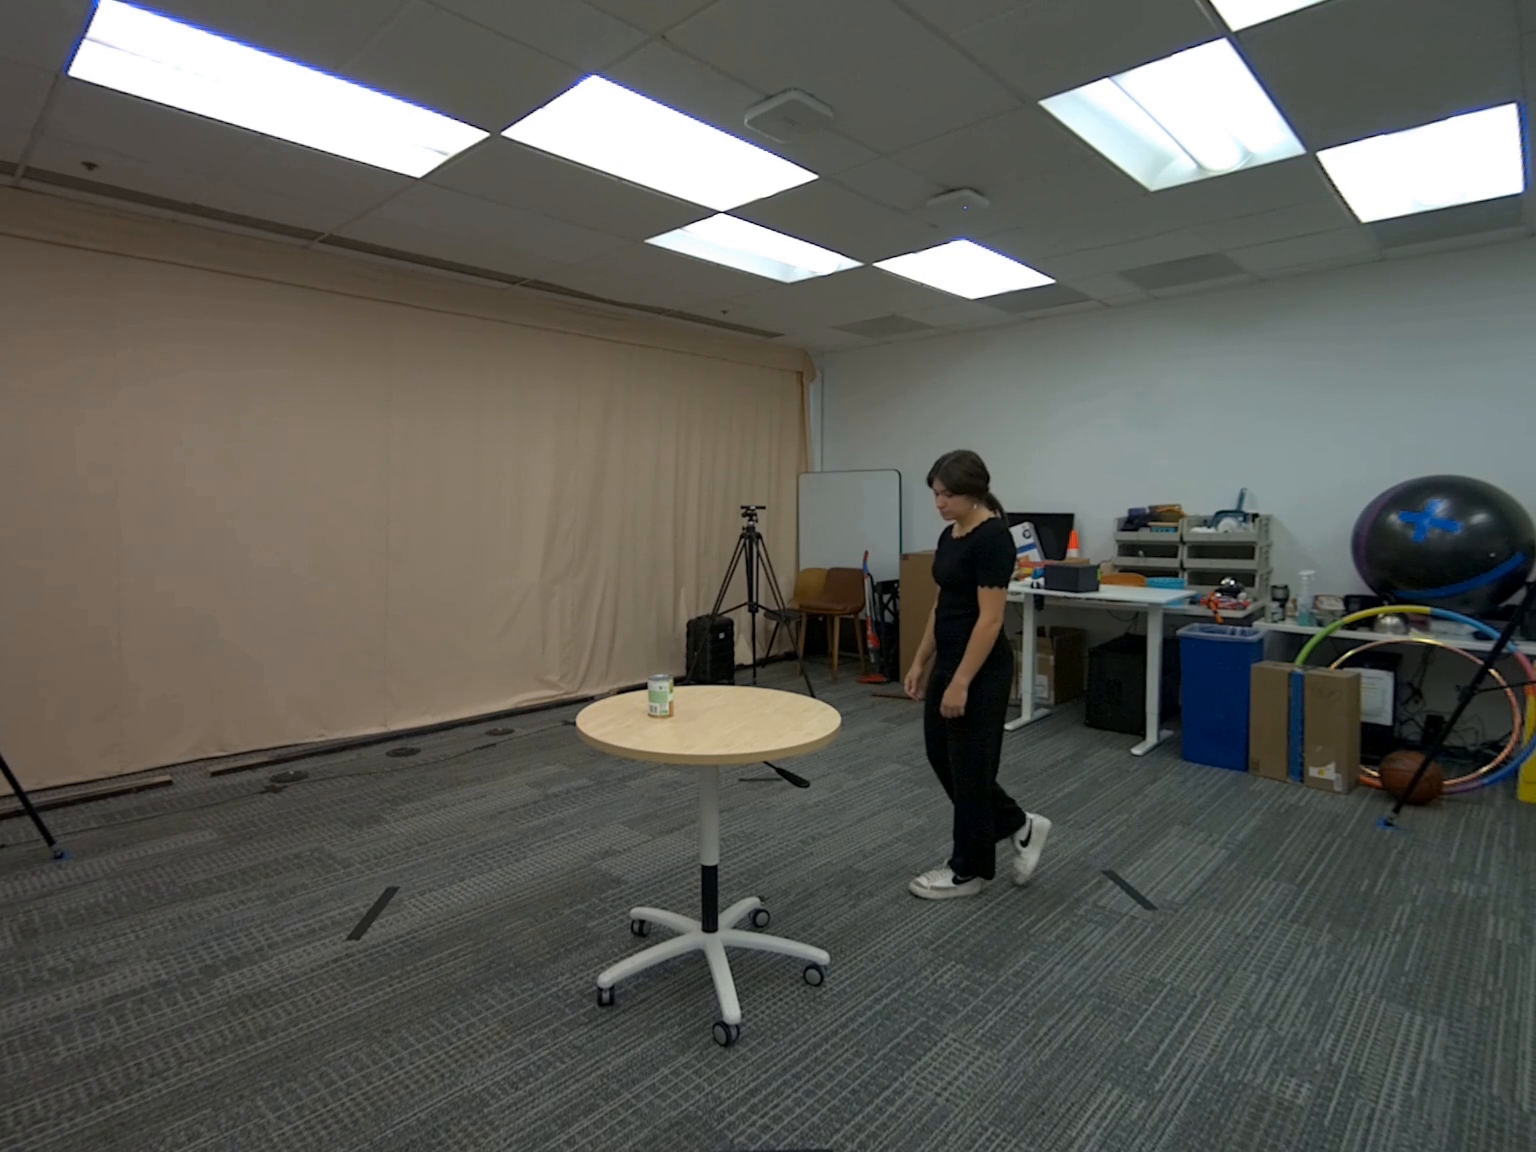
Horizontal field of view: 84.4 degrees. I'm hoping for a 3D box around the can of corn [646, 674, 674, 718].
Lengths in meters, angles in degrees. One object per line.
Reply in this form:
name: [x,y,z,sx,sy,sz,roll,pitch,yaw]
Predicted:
can of corn: [-0.315,0.354,2.442,0.074,0.110,0.074,-2,6,-2]
